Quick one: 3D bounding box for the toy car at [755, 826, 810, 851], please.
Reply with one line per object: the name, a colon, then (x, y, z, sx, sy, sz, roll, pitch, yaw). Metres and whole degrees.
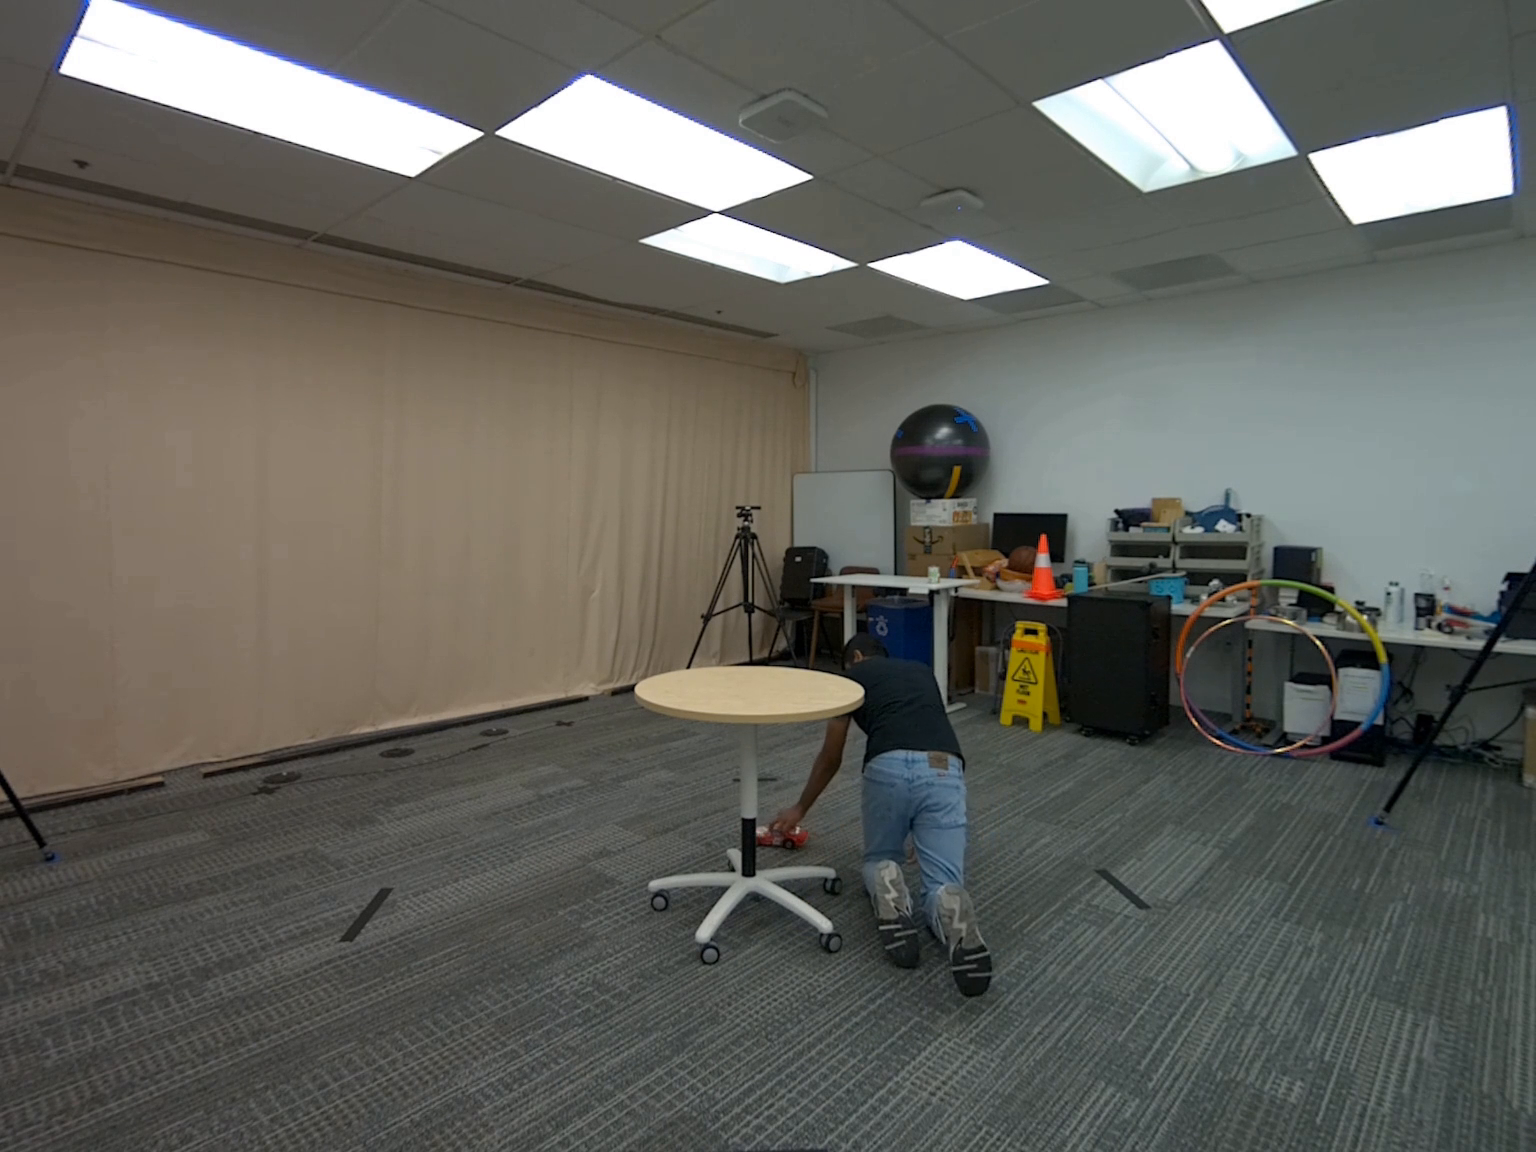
toy car: (0.045, 1.067, 3.469, 0.258, 0.083, 0.128, -9, 0, 12)
